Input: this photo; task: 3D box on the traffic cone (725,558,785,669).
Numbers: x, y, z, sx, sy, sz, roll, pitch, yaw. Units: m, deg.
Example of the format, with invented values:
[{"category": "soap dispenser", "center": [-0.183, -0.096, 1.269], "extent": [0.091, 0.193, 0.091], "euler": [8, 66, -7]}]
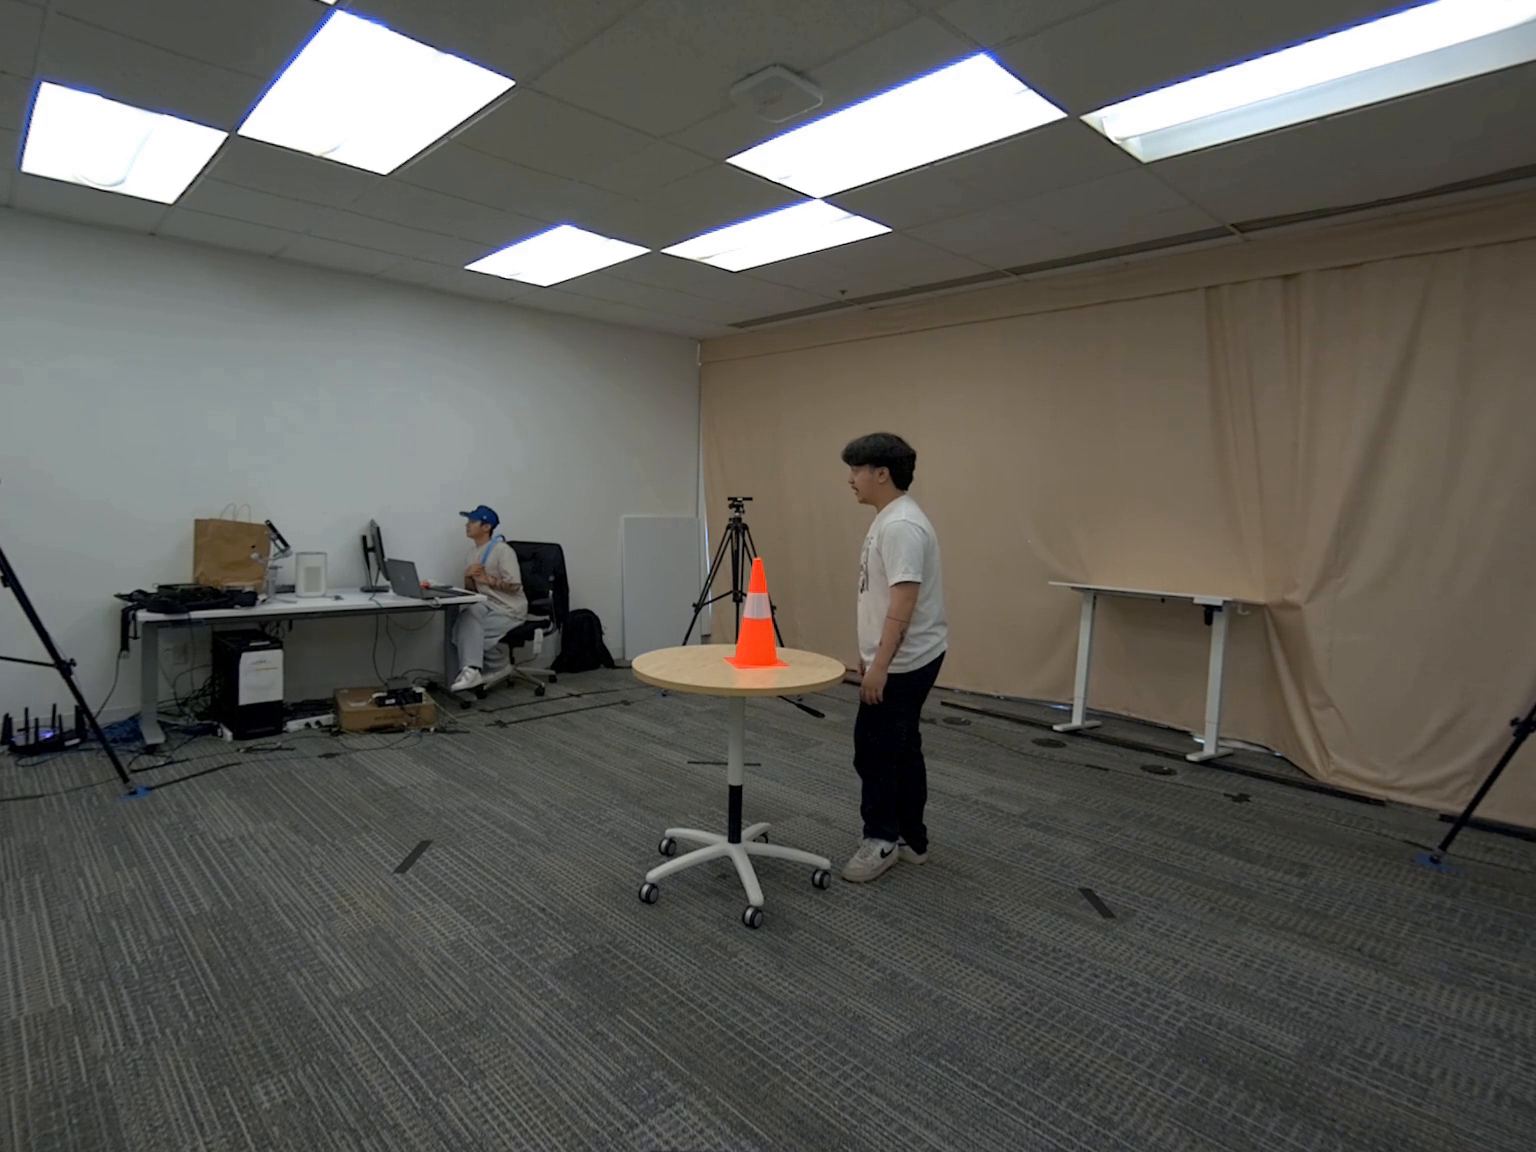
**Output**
[{"category": "traffic cone", "center": [-0.038, 0.130, 3.058], "extent": [0.199, 0.382, 0.209], "euler": [-1, 6, -27]}]
